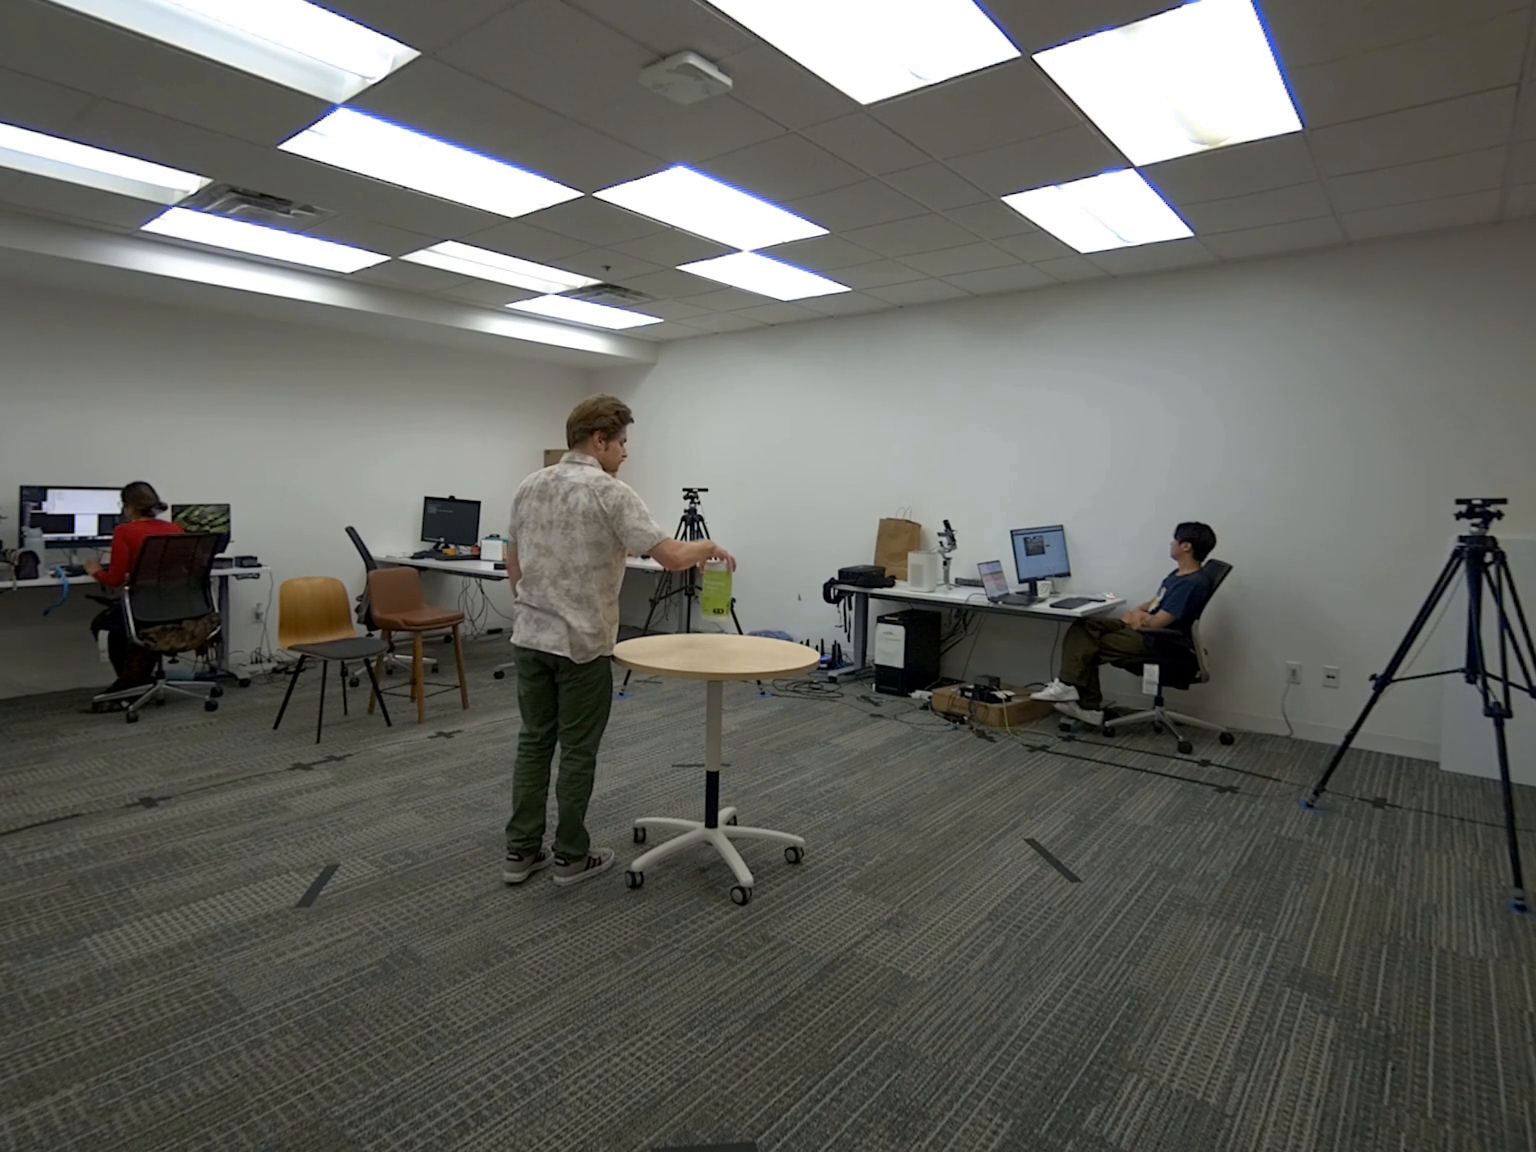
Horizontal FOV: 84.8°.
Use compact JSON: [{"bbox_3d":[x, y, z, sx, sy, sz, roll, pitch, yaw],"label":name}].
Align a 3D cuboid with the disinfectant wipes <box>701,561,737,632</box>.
[{"bbox_3d":[-0.204,0.057,3.161,0.117,0.216,0.118,3,5,-2],"label":"disinfectant wipes"}]
